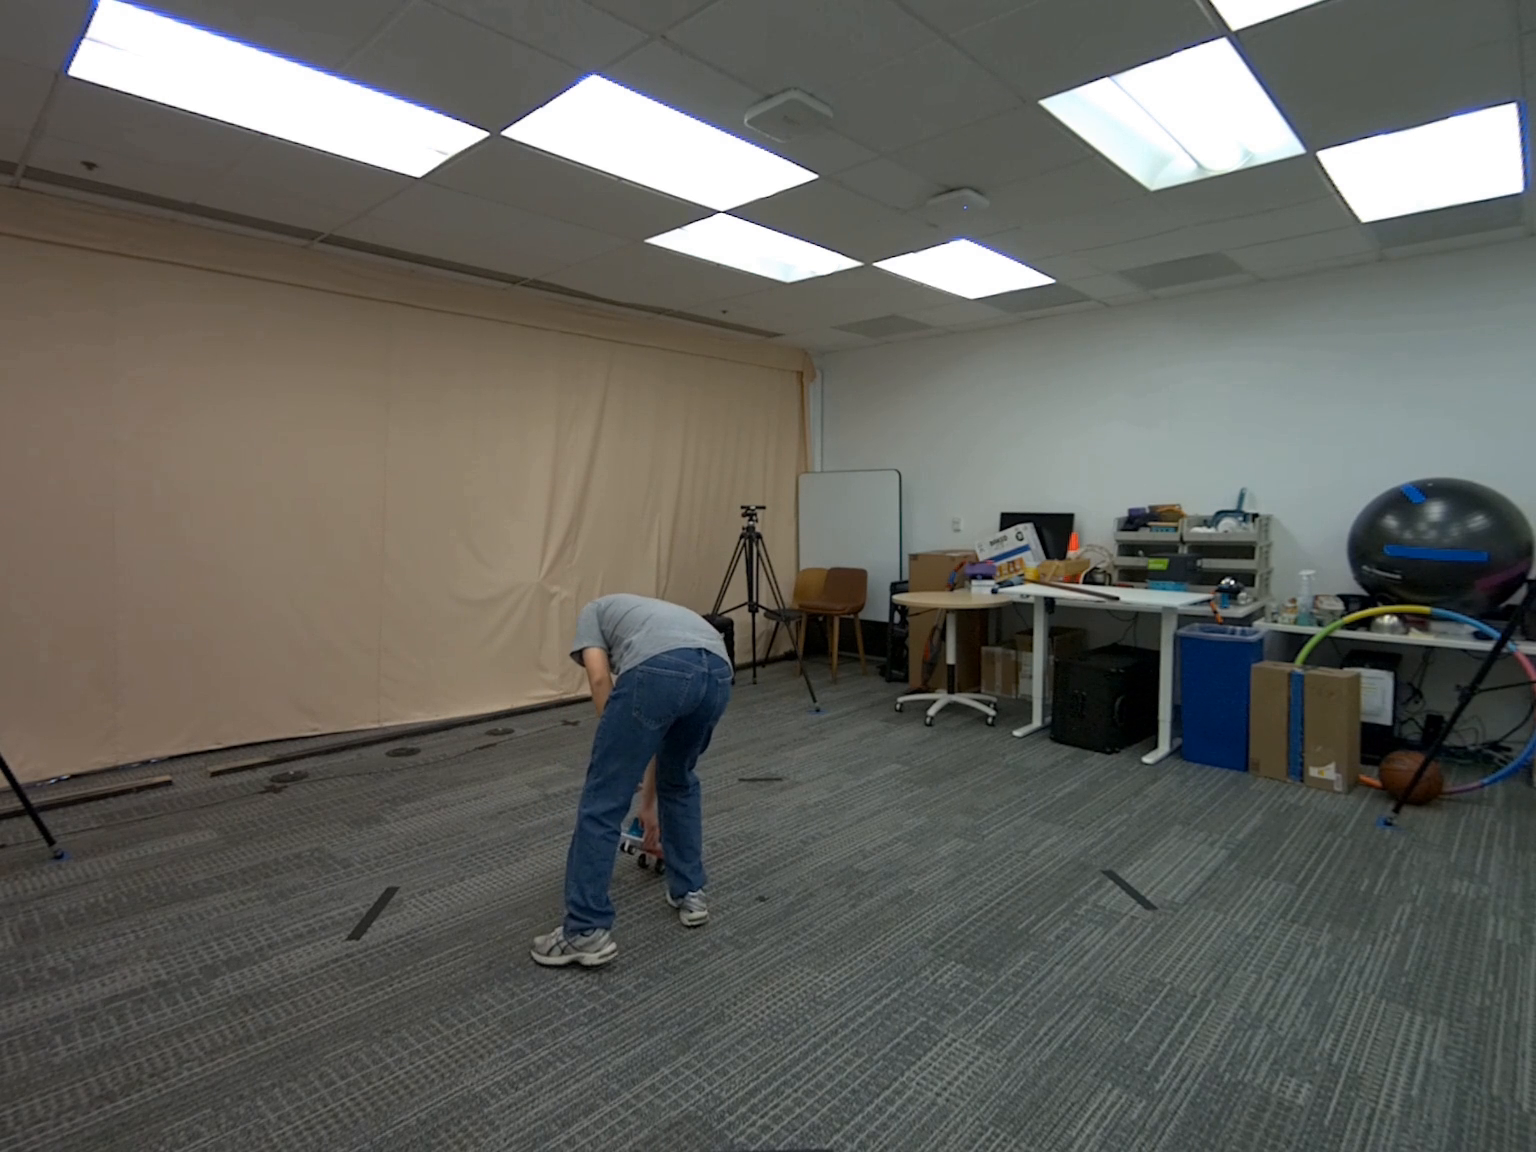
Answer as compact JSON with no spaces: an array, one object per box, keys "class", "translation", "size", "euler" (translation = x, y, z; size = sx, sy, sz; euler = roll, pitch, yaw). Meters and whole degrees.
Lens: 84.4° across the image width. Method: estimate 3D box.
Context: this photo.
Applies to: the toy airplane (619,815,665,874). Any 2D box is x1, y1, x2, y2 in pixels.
[{"class":"toy airplane","translation":[-0.440,1.018,3.179],"size":[0.255,0.157,0.255],"euler":[19,-29,11]}]
